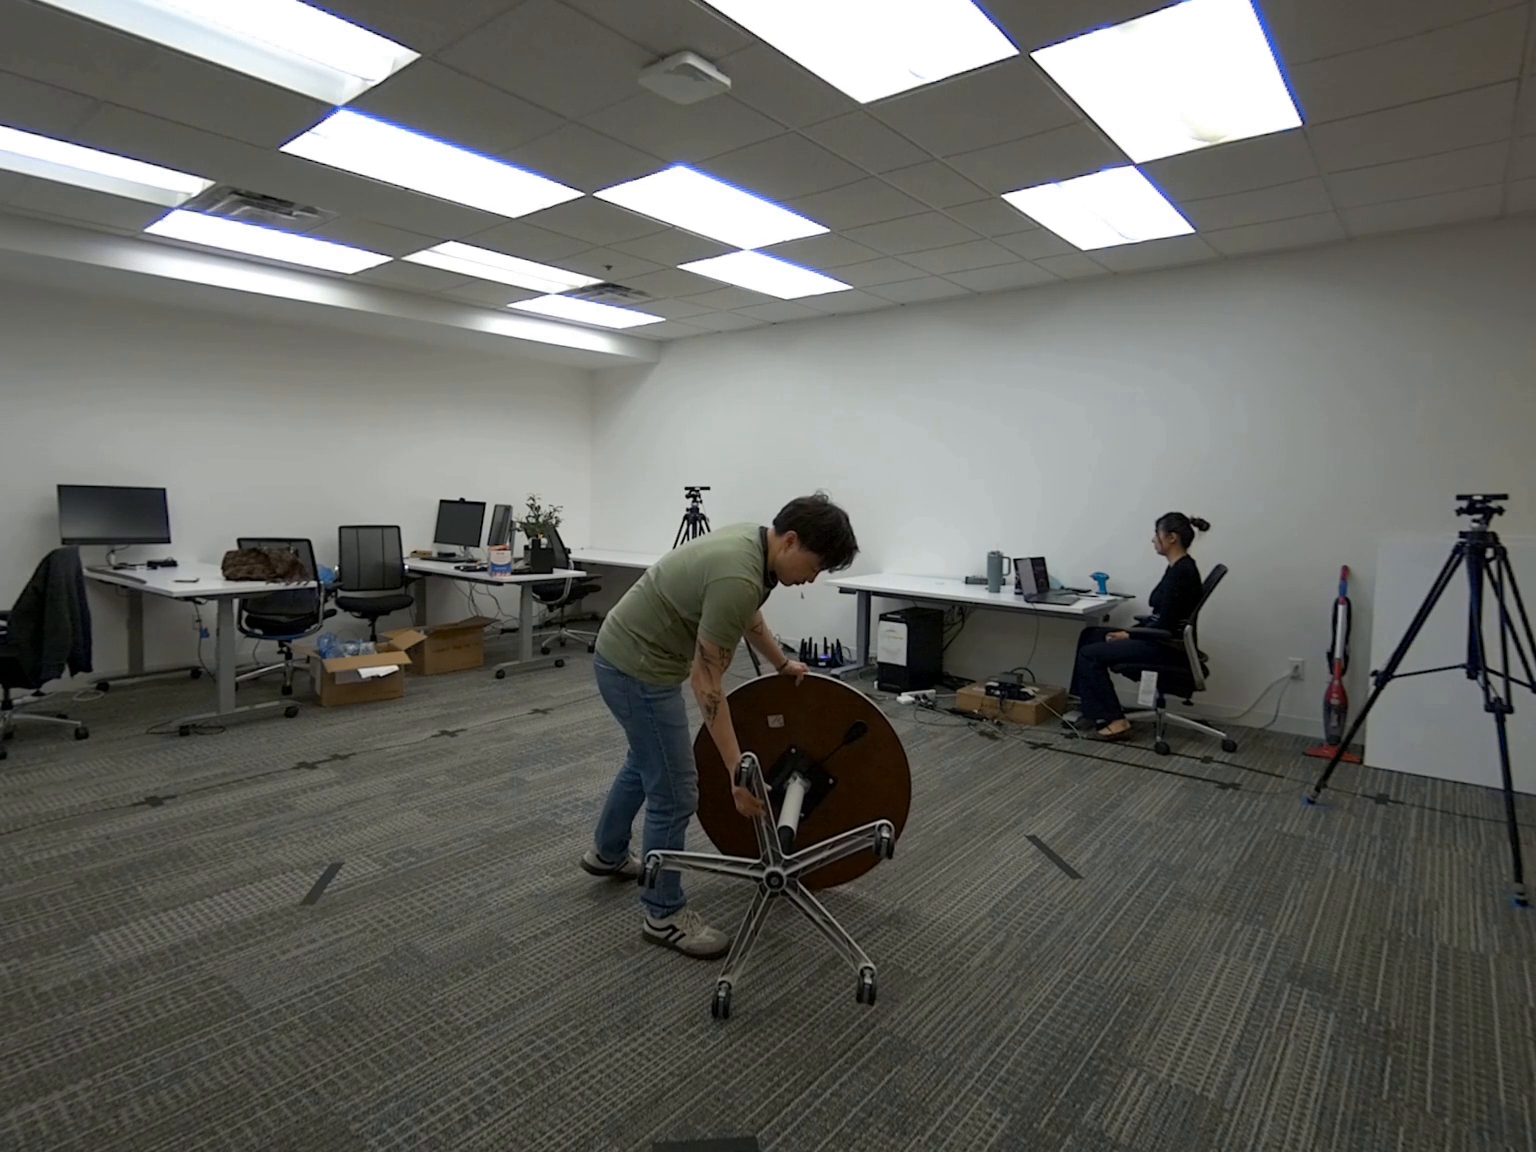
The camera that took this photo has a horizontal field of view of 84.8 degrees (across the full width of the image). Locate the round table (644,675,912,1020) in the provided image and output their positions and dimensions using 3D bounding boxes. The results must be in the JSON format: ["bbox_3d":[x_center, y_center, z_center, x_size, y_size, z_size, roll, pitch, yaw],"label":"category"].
[{"bbox_3d":[0.050,0.766,2.552,0.772,0.759,0.791,1,7,8],"label":"round table"}]
